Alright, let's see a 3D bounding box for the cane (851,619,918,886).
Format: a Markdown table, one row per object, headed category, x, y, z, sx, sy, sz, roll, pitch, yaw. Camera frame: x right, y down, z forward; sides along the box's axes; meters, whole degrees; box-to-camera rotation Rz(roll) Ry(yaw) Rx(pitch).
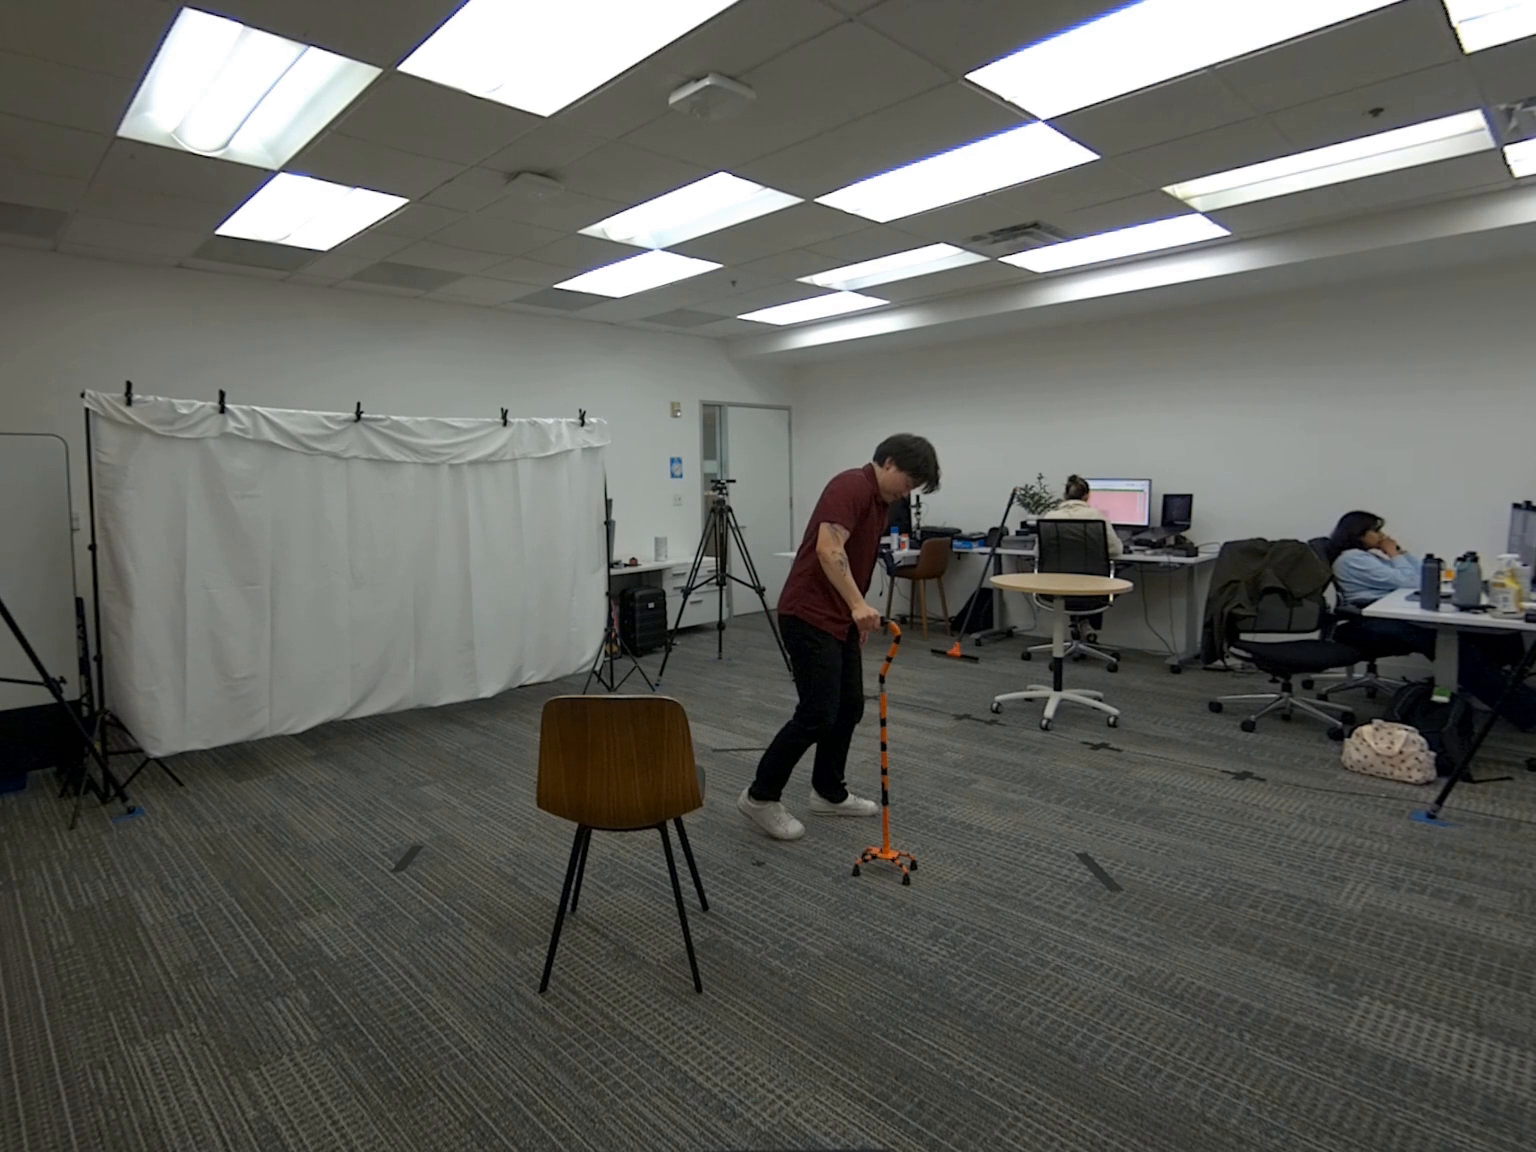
| category | x | y | z | sx | sy | sz | roll | pitch | yaw |
| --- | --- | --- | --- | --- | --- | --- | --- | --- | --- |
| cane | 0.403 | 0.602 | 2.995 | 0.211 | 0.905 | 0.149 | 0 | 4 | 22 |
